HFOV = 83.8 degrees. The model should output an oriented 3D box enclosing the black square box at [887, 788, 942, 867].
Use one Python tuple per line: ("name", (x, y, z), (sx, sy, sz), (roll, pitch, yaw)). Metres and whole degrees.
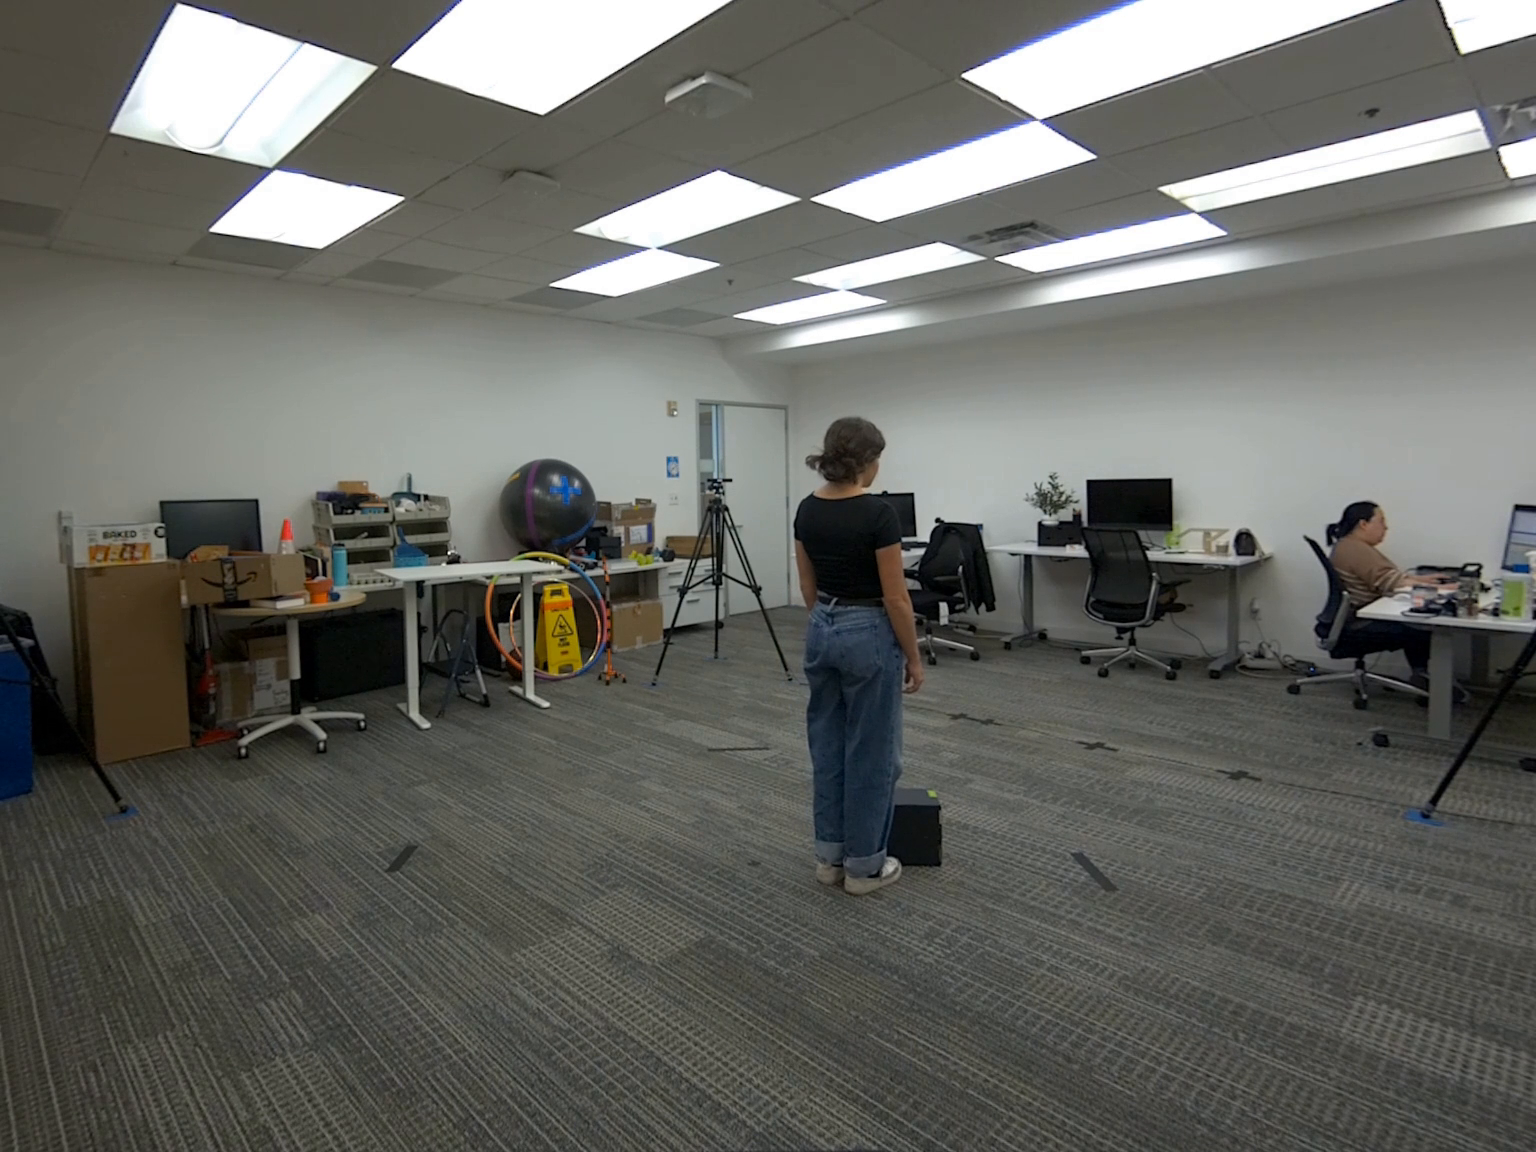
("black square box", (0.515, 0.912, 3.127), (0.218, 0.227, 0.156), (0, 5, 3))
